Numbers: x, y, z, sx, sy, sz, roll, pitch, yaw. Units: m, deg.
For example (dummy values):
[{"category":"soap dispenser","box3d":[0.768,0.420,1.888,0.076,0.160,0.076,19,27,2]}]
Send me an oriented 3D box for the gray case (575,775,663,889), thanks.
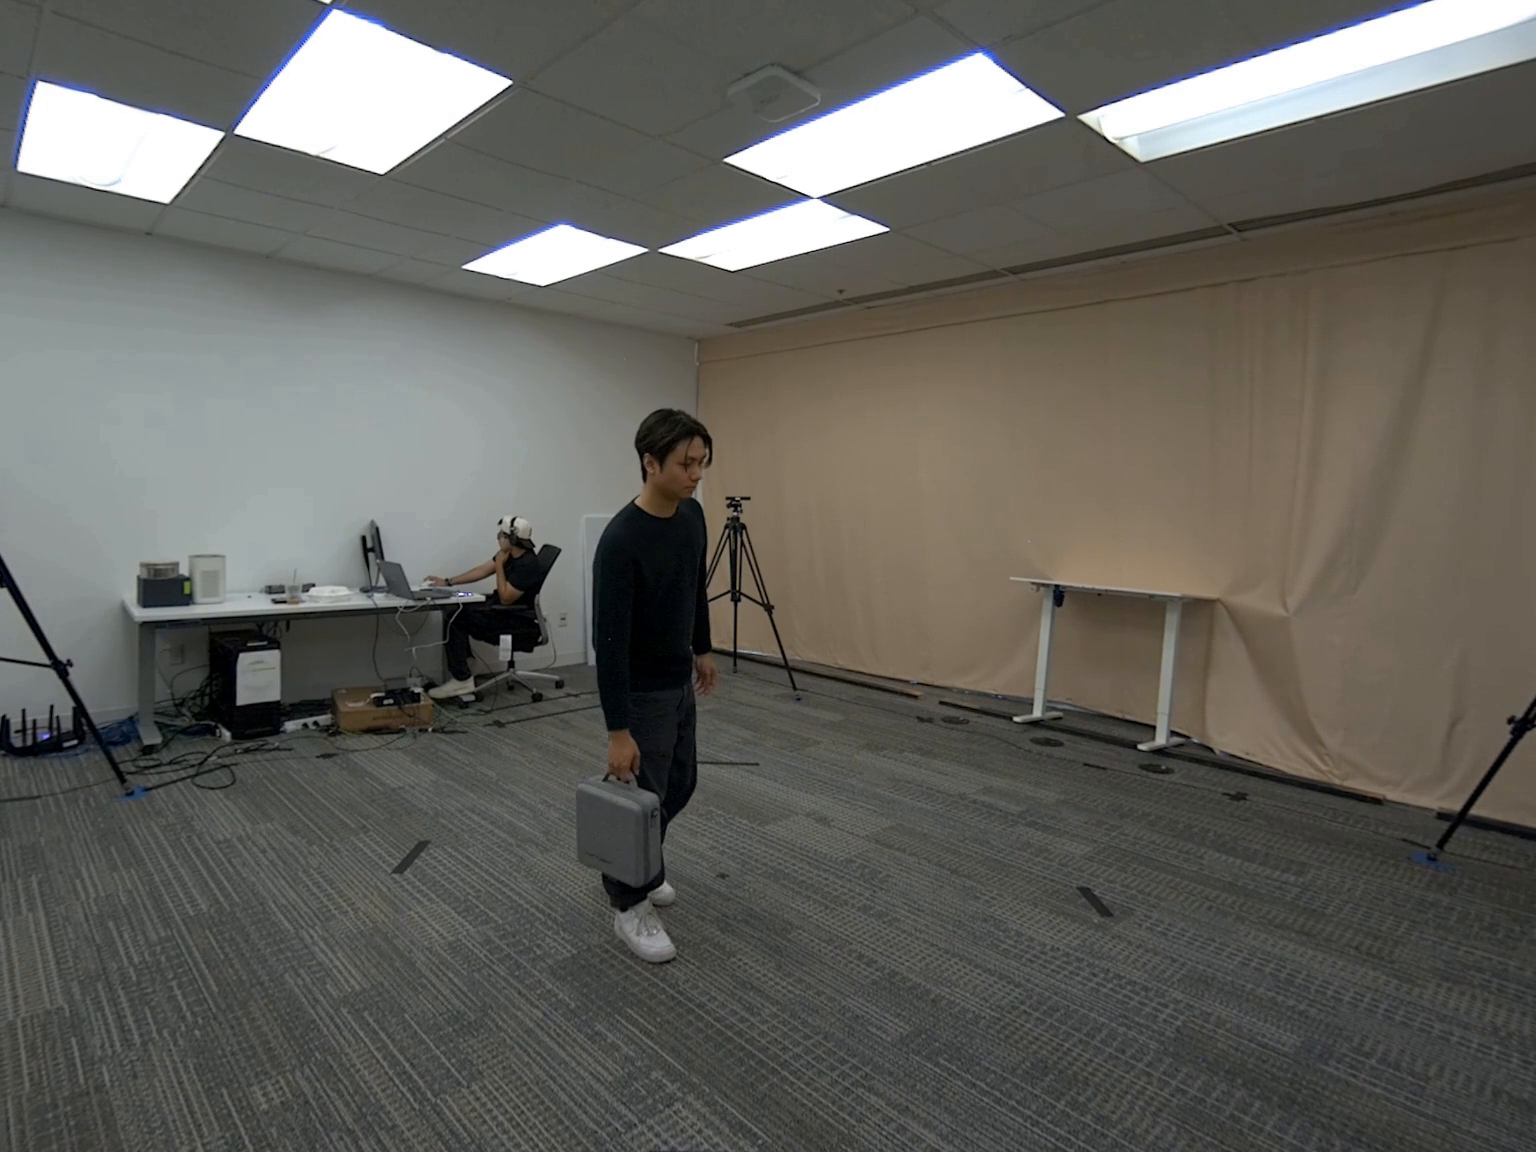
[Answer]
[{"category":"gray case","box3d":[-0.440,0.718,2.392,0.263,0.259,0.102,9,12,37]}]
